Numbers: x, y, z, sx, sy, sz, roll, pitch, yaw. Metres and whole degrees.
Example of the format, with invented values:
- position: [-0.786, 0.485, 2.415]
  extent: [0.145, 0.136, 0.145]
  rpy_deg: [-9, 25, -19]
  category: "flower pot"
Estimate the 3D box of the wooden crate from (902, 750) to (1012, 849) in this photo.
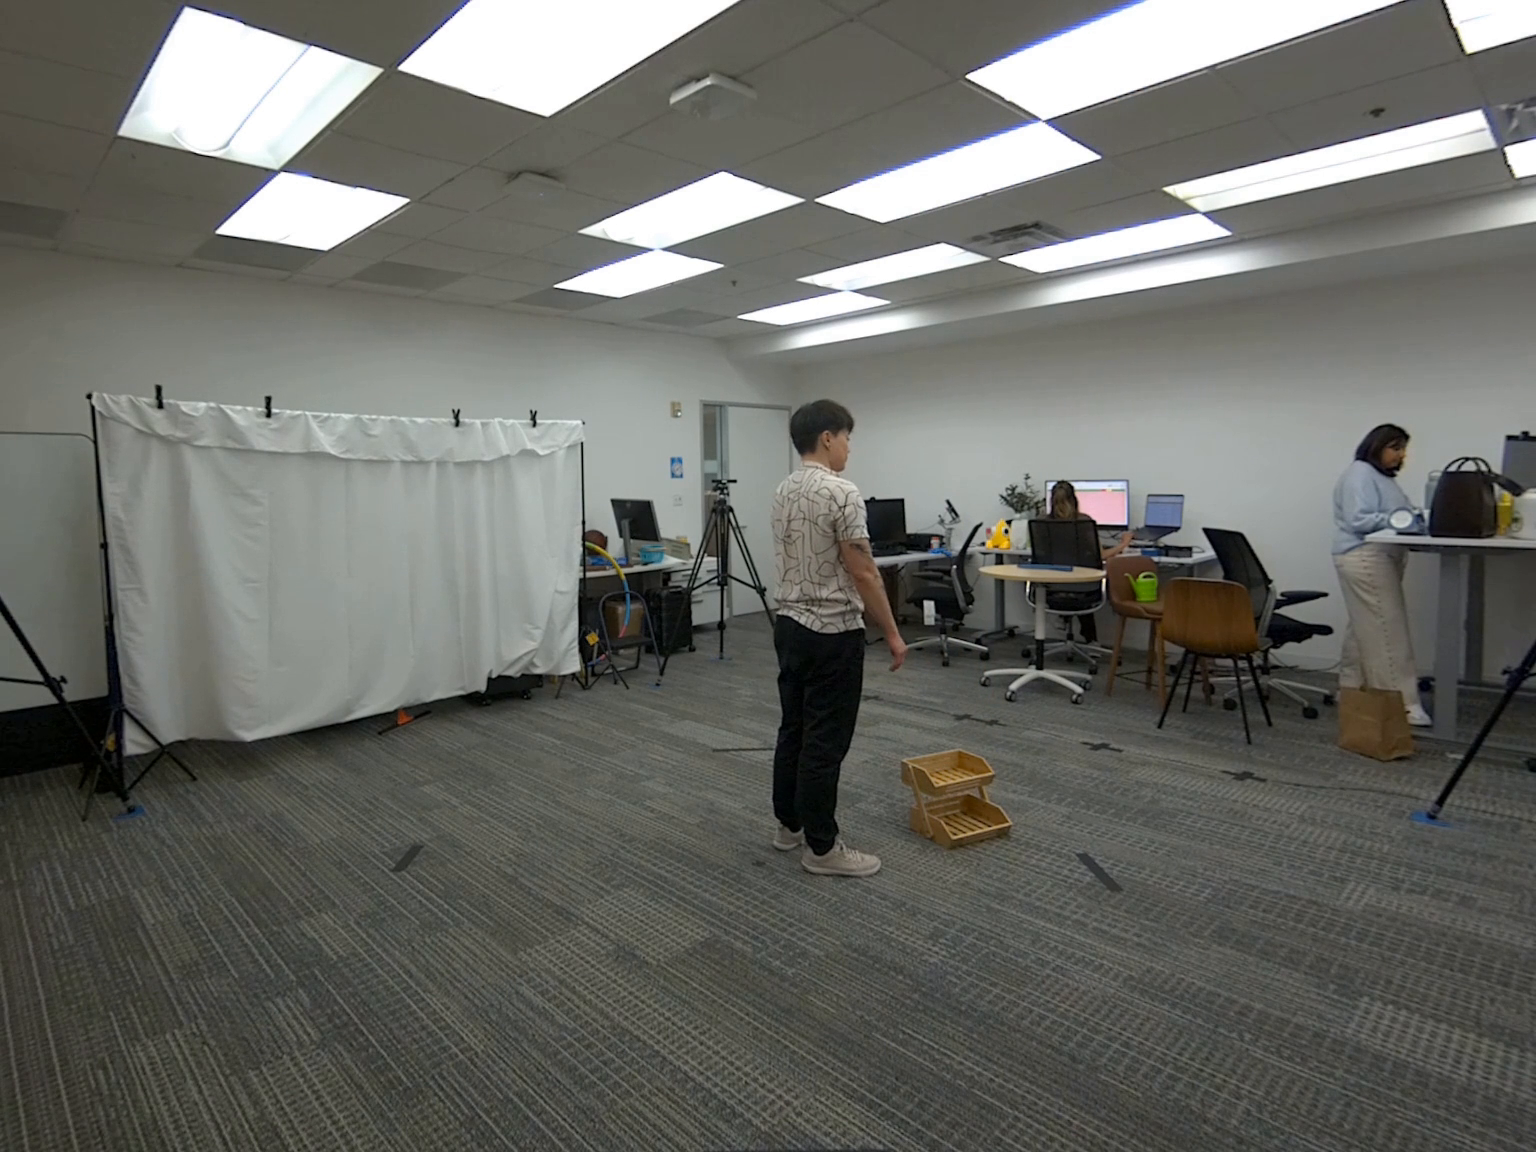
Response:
- position: [0.749, 0.872, 3.377]
  extent: [0.317, 0.272, 0.310]
  rpy_deg: [-4, 5, -28]
  category: "wooden crate"
